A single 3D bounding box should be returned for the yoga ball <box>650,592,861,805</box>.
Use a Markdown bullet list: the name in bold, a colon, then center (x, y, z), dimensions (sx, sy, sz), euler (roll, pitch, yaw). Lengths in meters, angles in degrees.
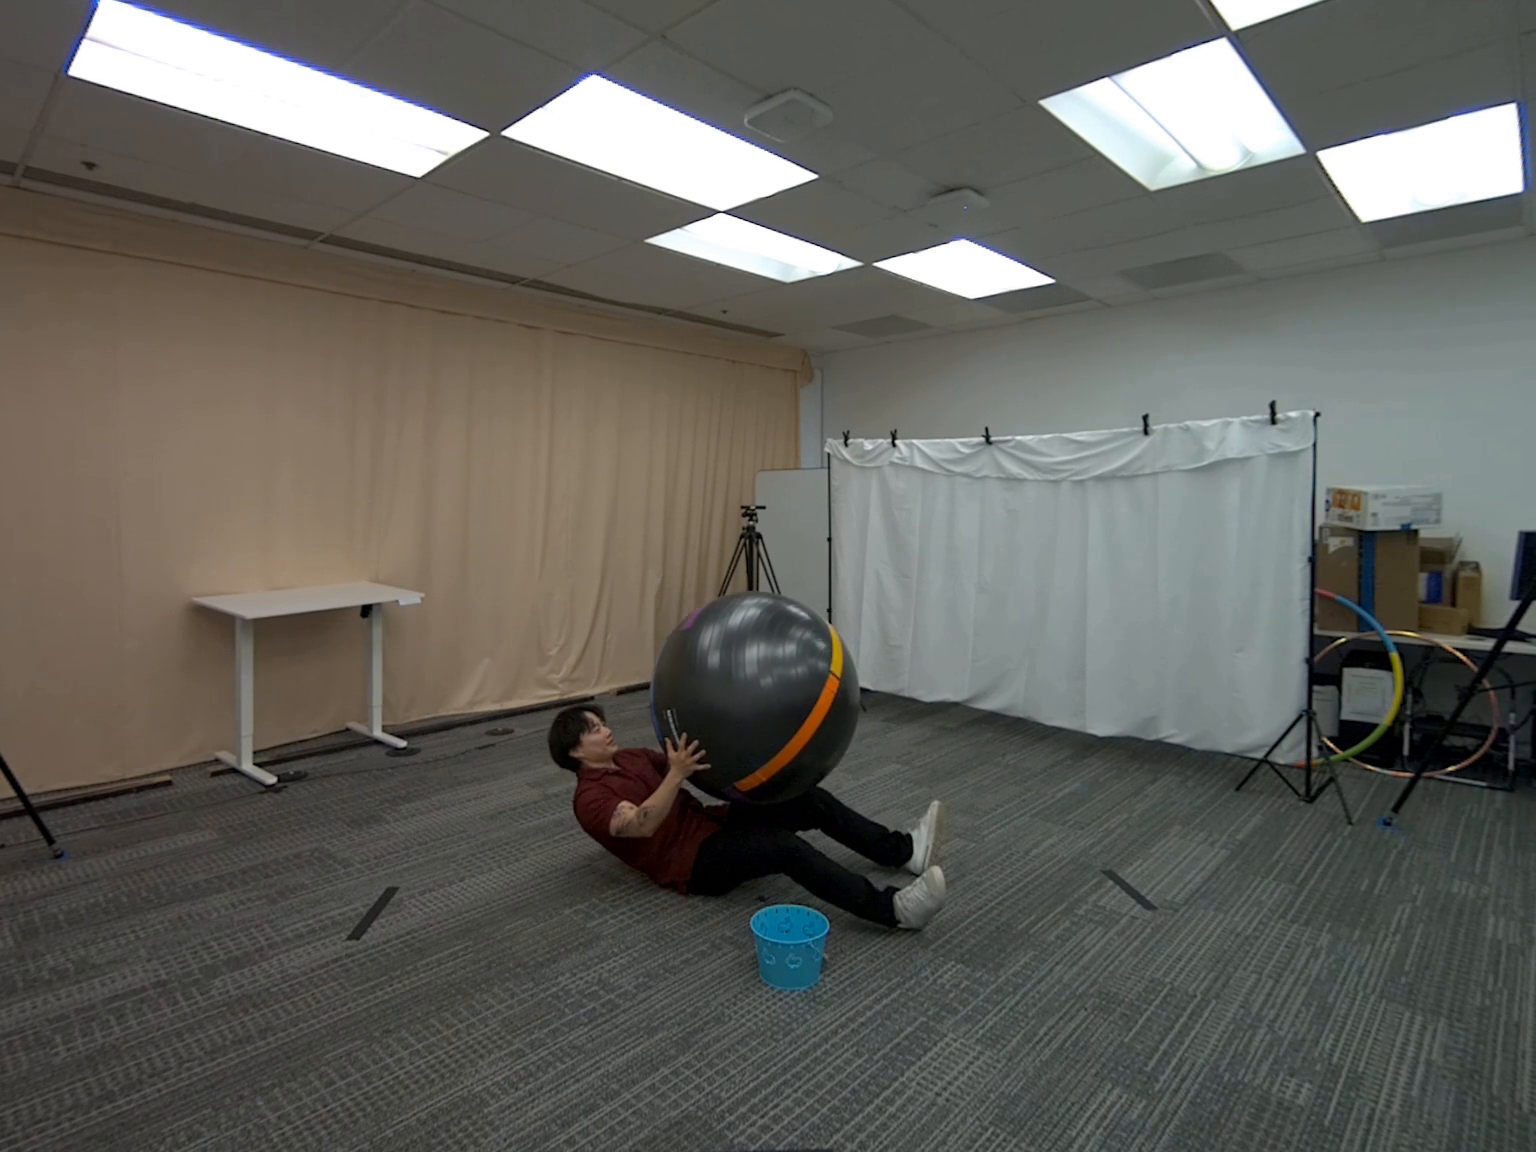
- **yoga ball**: center (-0.049, 0.441, 3.060), dimensions (0.757, 0.756, 0.760), euler (0, 4, -2)
